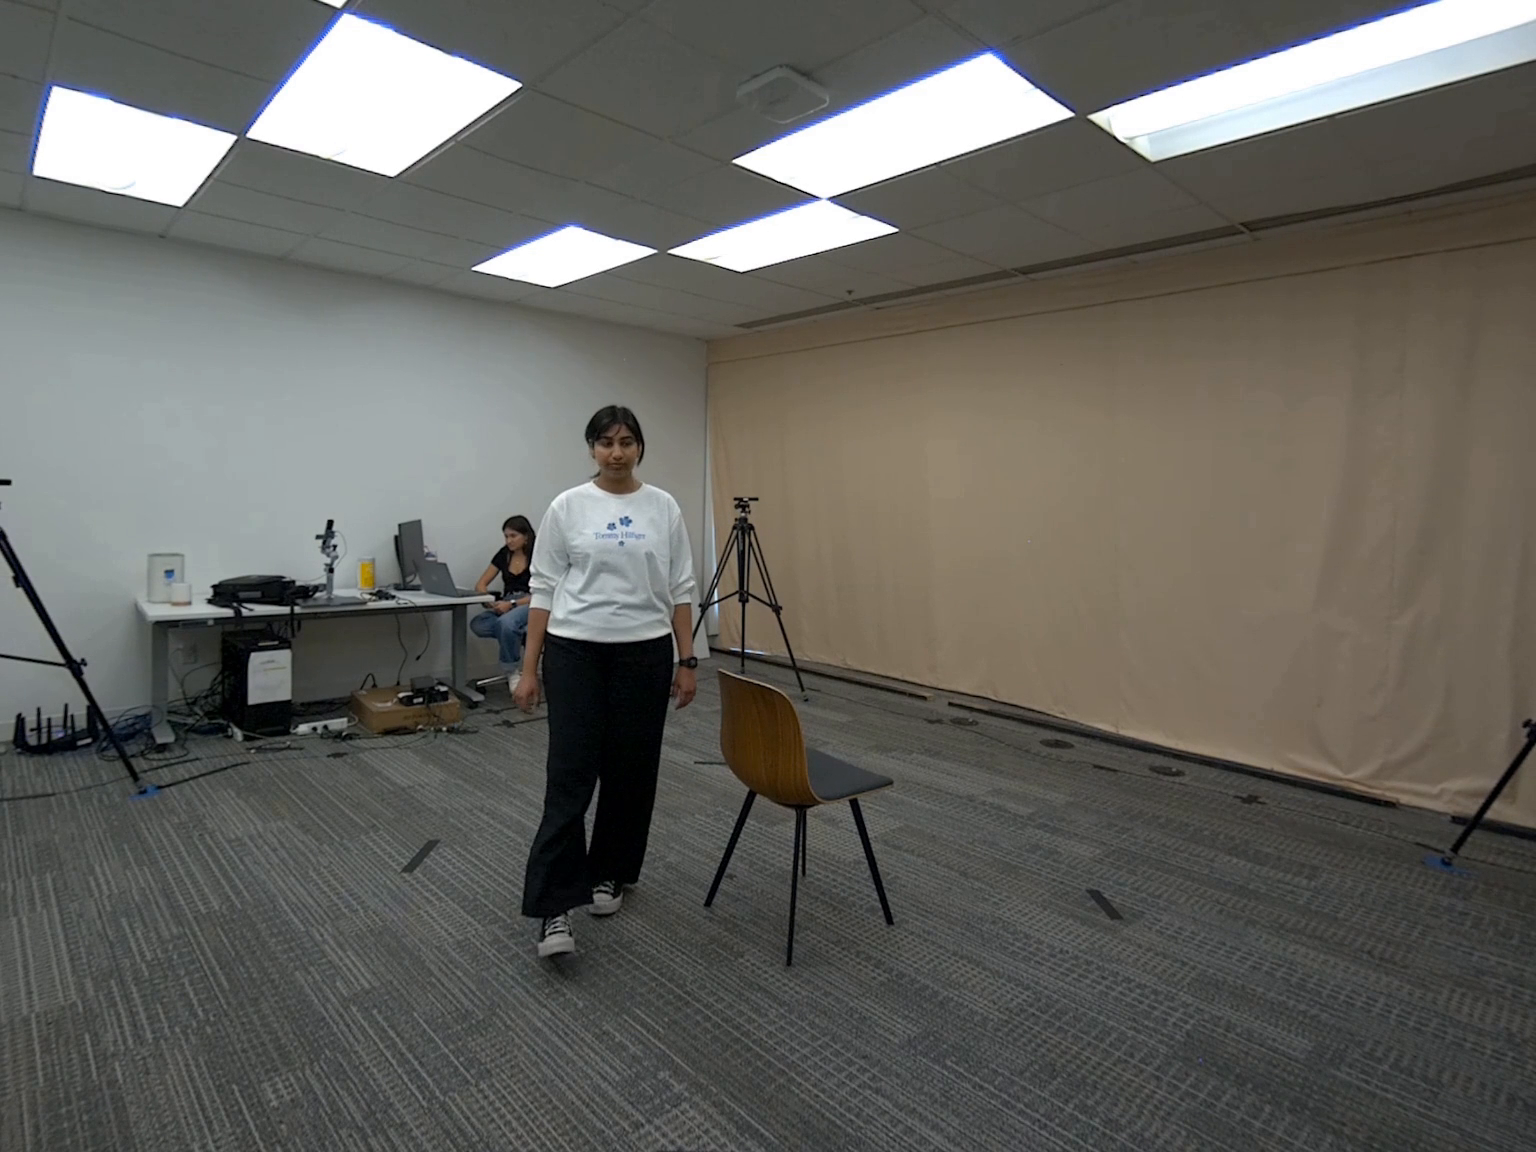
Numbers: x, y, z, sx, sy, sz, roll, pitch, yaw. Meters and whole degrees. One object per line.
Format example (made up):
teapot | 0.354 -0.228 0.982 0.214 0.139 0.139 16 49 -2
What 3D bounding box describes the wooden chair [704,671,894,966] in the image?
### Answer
wooden chair | 0.110 0.714 2.795 0.512 0.873 0.490 -7 8 -38
